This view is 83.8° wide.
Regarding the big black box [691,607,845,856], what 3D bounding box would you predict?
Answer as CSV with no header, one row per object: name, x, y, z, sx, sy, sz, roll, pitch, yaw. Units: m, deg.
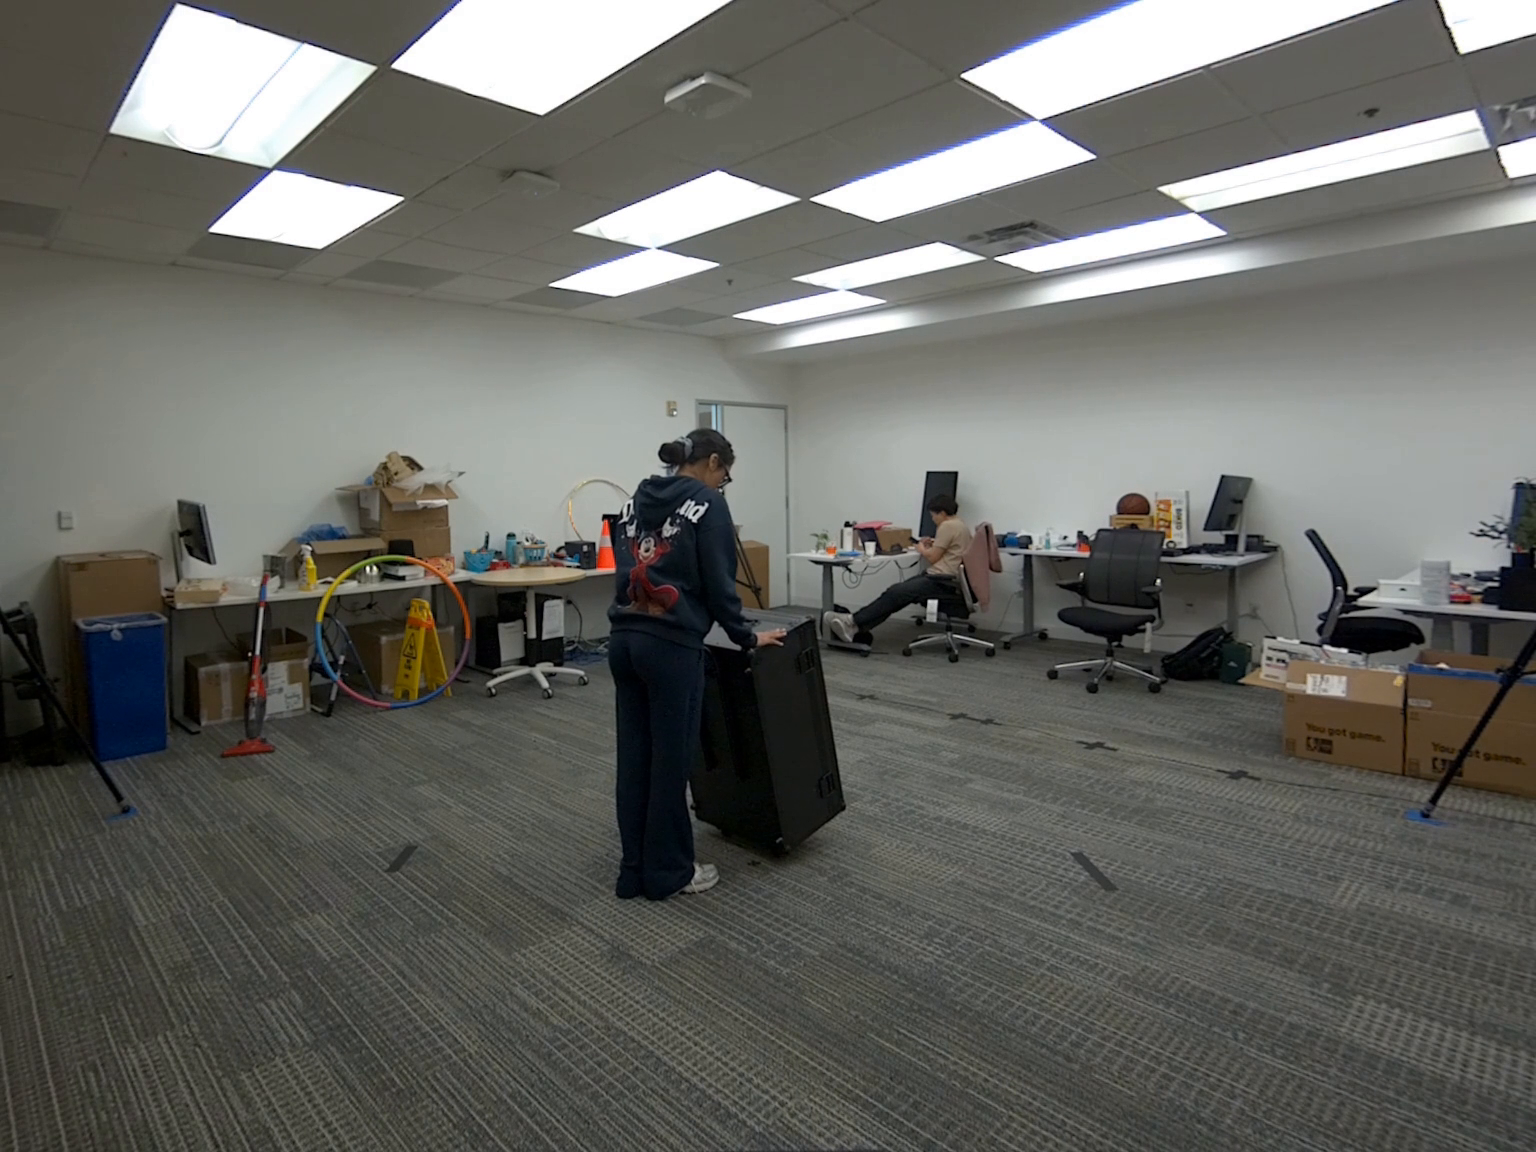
big black box,-0.051,0.591,3.240,0.537,0.850,0.389,4,19,45
